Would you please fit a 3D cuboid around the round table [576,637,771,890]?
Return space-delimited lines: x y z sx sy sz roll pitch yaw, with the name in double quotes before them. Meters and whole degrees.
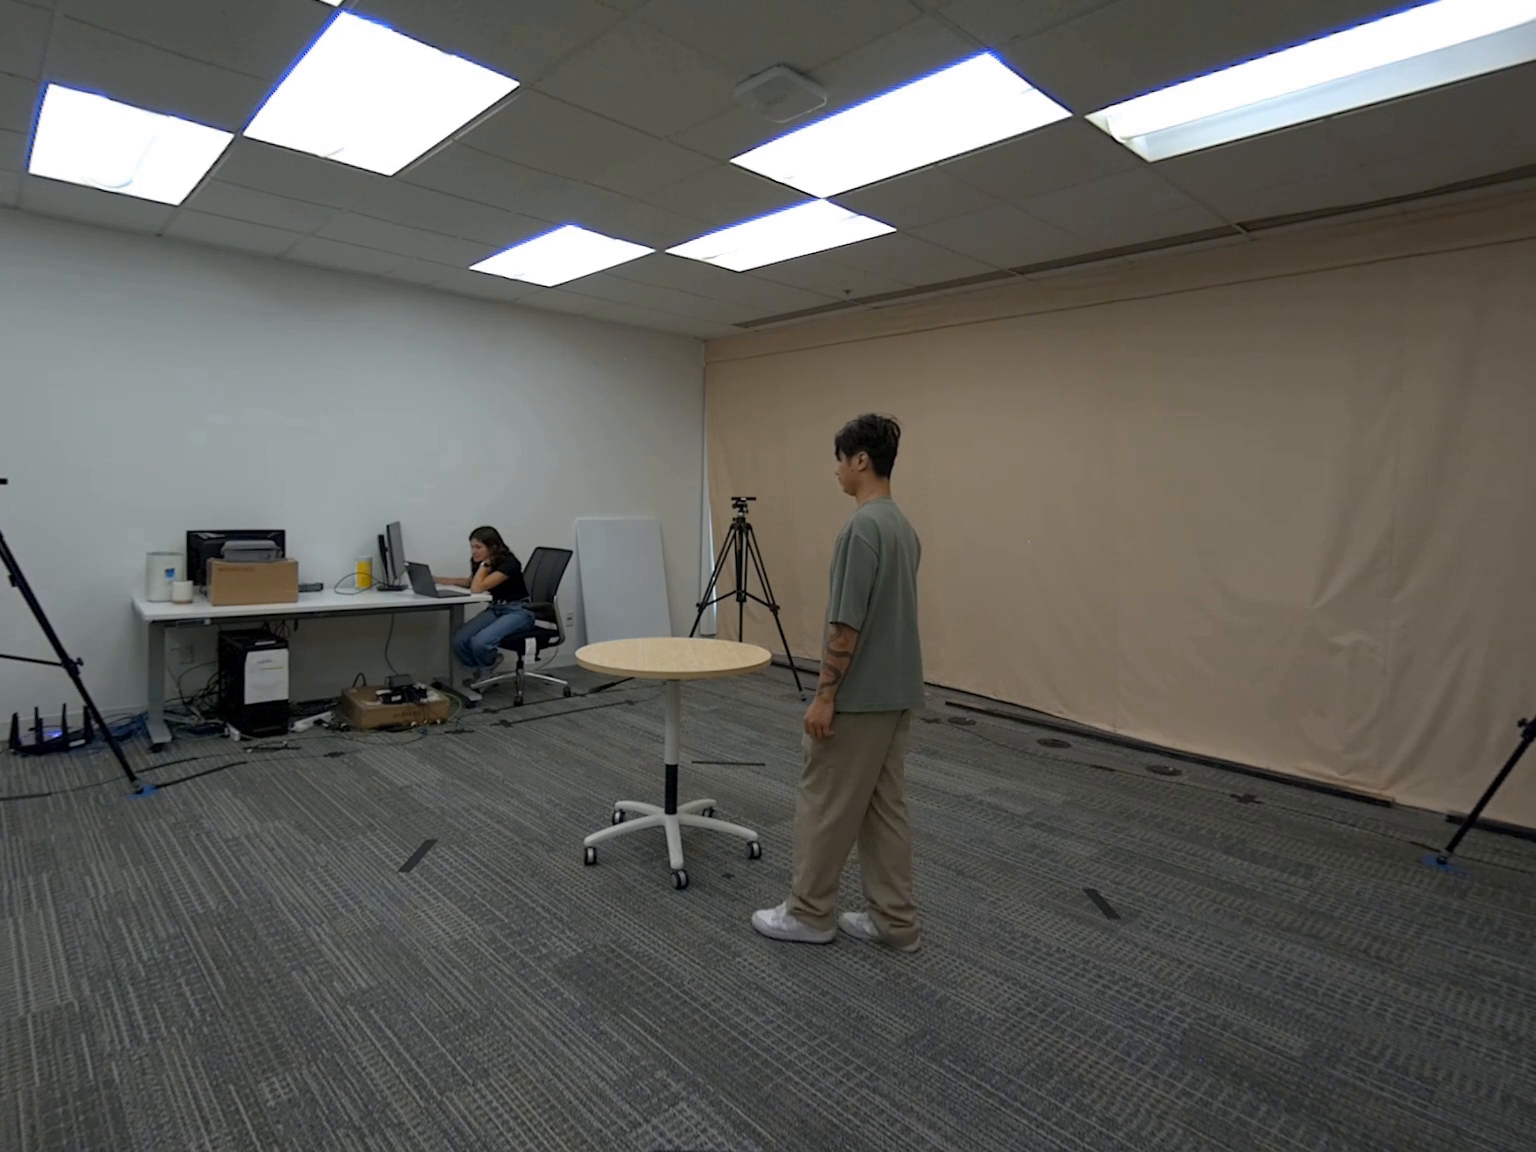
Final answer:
"round table" -0.375 0.689 3.333 0.784 0.784 0.787 1 4 -1
